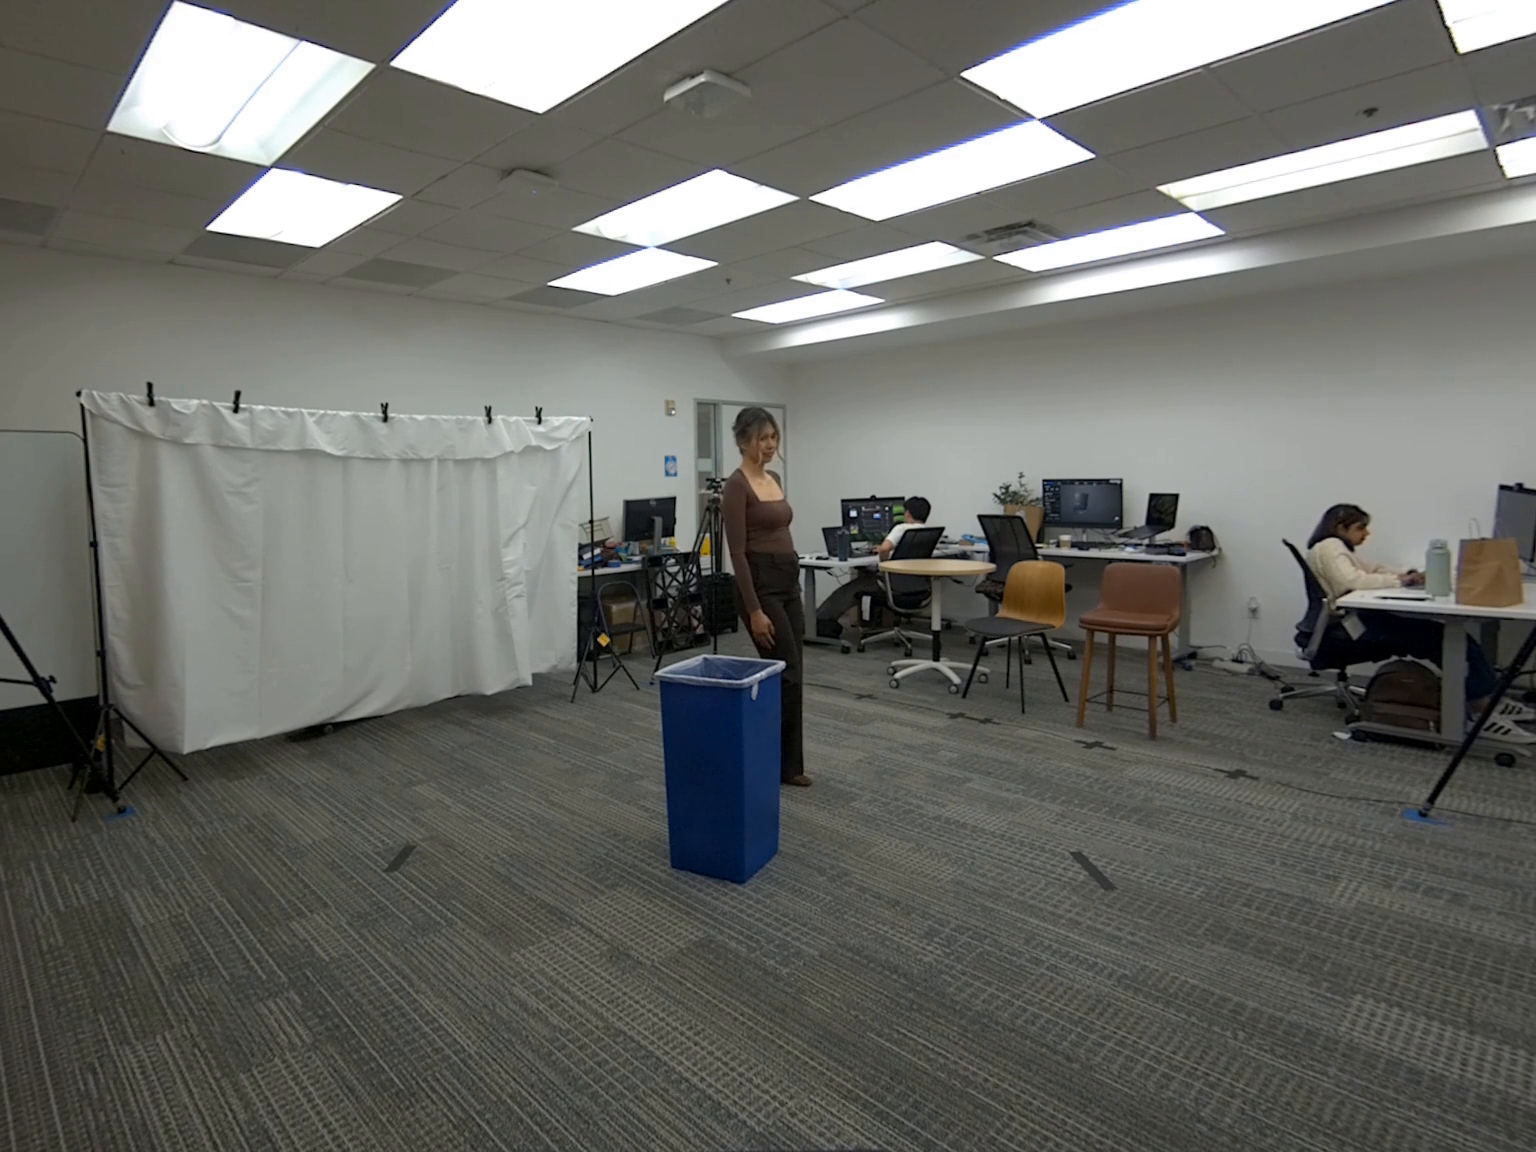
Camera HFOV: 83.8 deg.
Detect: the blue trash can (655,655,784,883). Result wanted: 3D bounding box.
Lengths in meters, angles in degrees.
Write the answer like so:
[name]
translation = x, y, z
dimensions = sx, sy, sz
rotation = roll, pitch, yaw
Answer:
[blue trash can]
translation = -0.160, 0.683, 3.115
dimensions = 0.387, 0.712, 0.366
rotation = 1, 3, 26
